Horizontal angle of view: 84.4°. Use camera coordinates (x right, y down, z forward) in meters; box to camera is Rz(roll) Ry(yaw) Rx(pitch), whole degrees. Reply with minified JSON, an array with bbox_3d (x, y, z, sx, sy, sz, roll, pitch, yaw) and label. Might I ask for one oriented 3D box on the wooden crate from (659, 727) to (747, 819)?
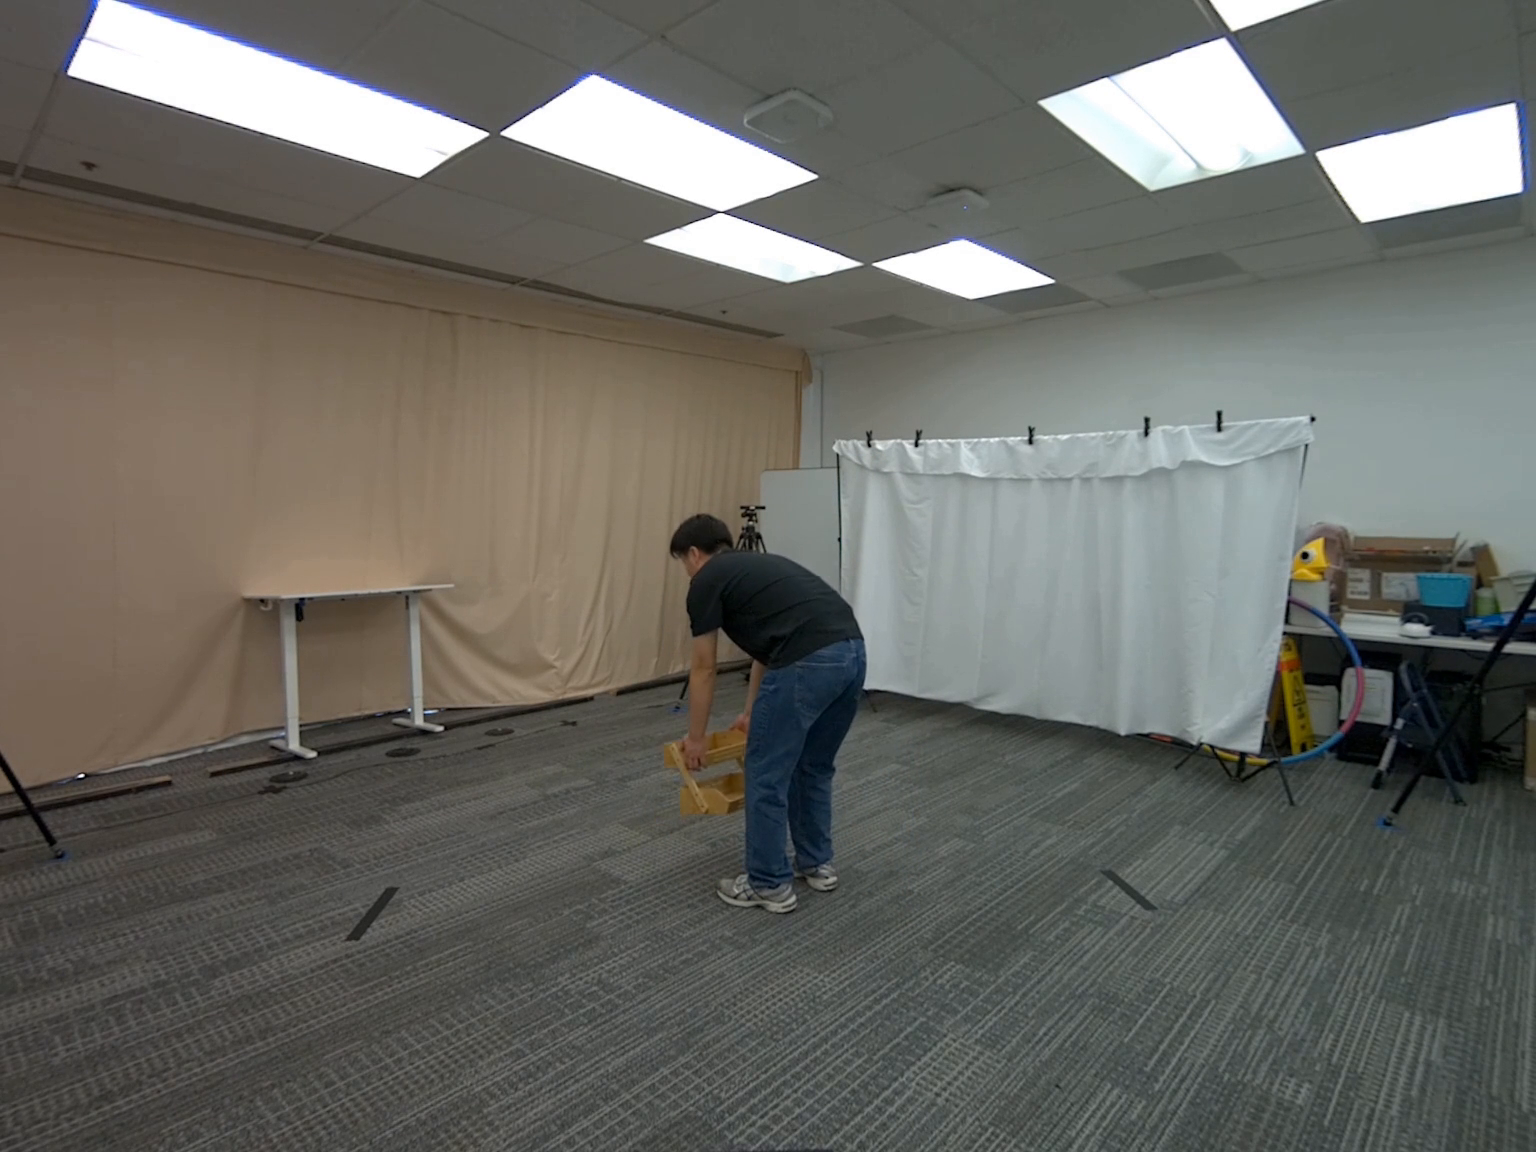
[{"bbox_3d":[-0.180,0.737,3.223,0.310,0.275,0.314,-12,-7,39],"label":"wooden crate"}]
